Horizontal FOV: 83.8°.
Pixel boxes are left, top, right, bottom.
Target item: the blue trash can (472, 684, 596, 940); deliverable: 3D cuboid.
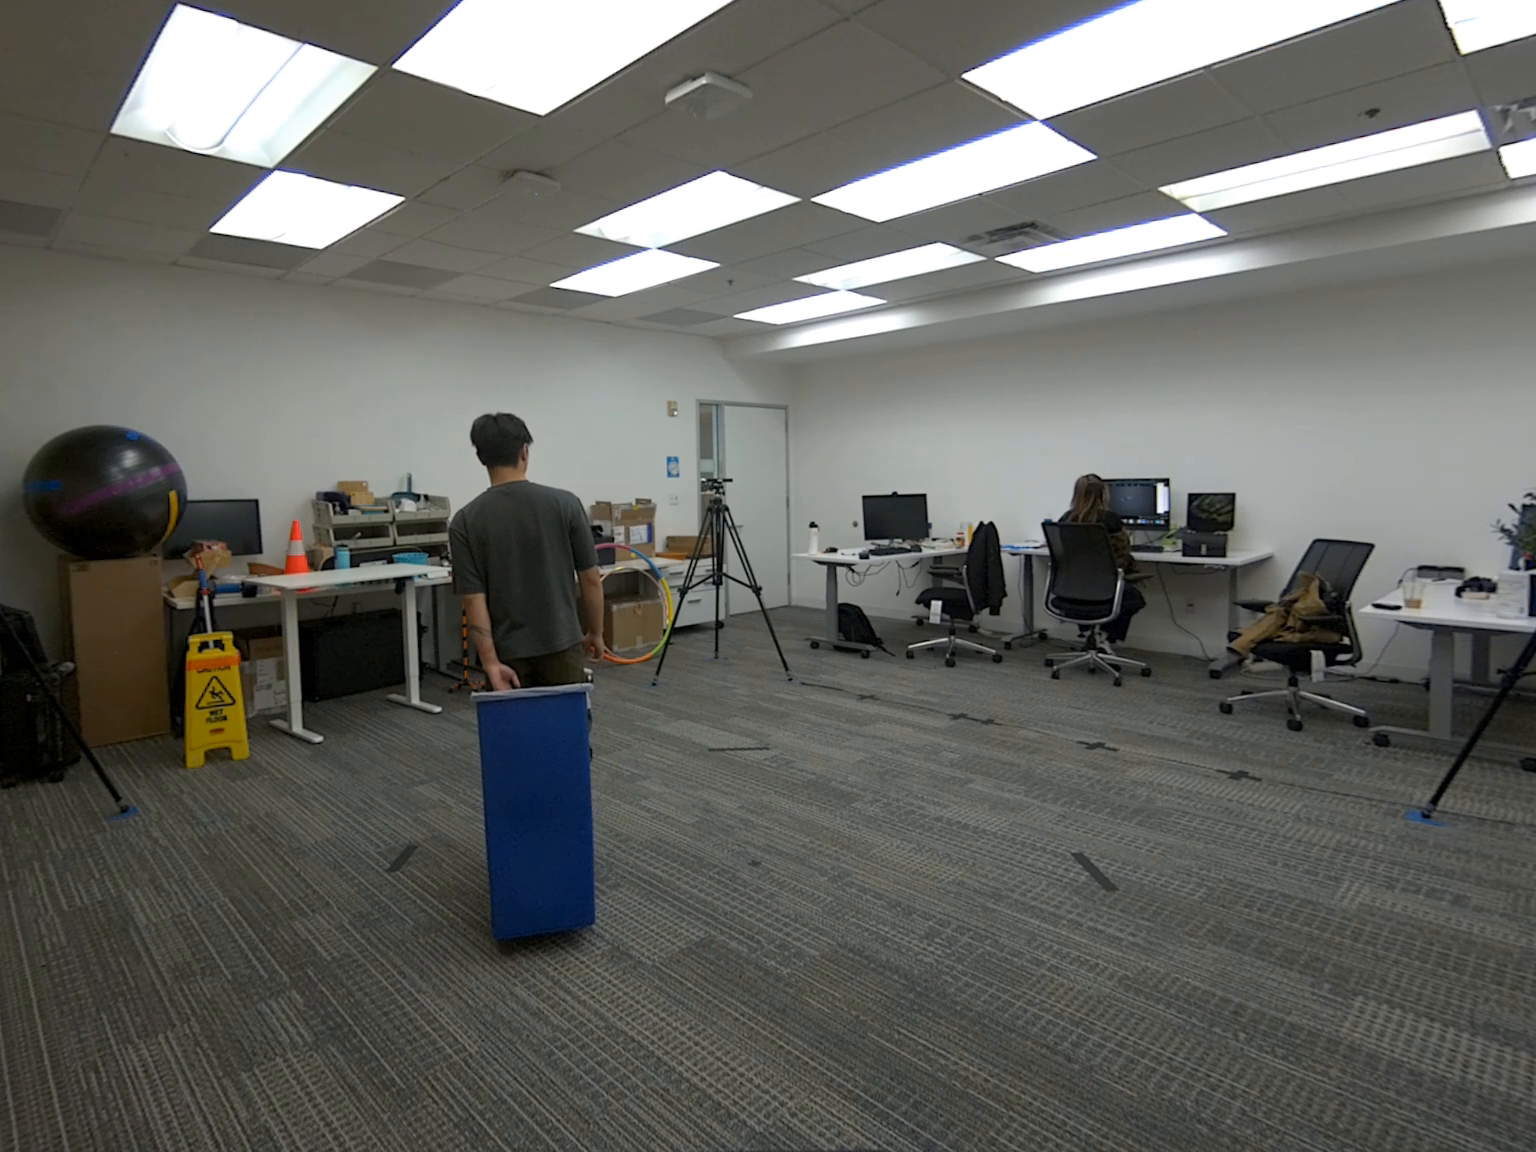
[{"bbox_3d":[-0.735,0.722,2.720,0.369,0.721,0.379,-3,-10,-15],"label":"blue trash can"}]
